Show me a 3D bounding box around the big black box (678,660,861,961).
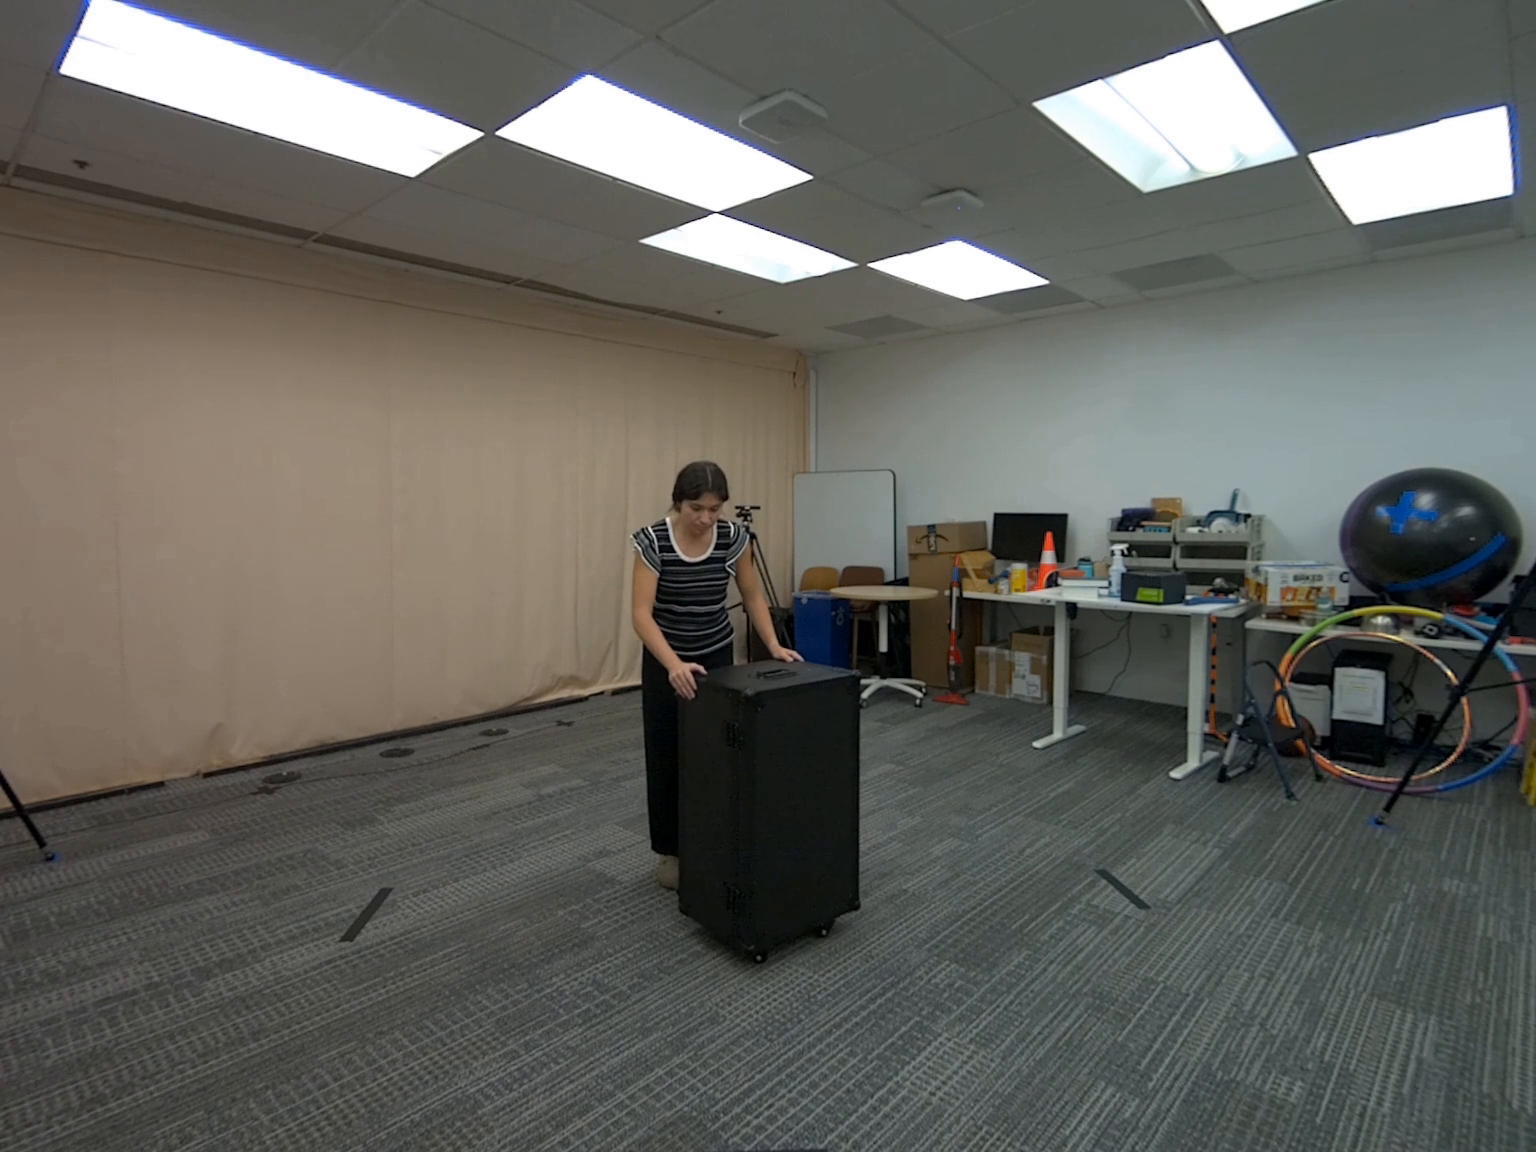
[{"bbox_3d":[0.003,0.741,2.740,0.505,0.860,0.409,-3,4,-40],"label":"big black box"}]
